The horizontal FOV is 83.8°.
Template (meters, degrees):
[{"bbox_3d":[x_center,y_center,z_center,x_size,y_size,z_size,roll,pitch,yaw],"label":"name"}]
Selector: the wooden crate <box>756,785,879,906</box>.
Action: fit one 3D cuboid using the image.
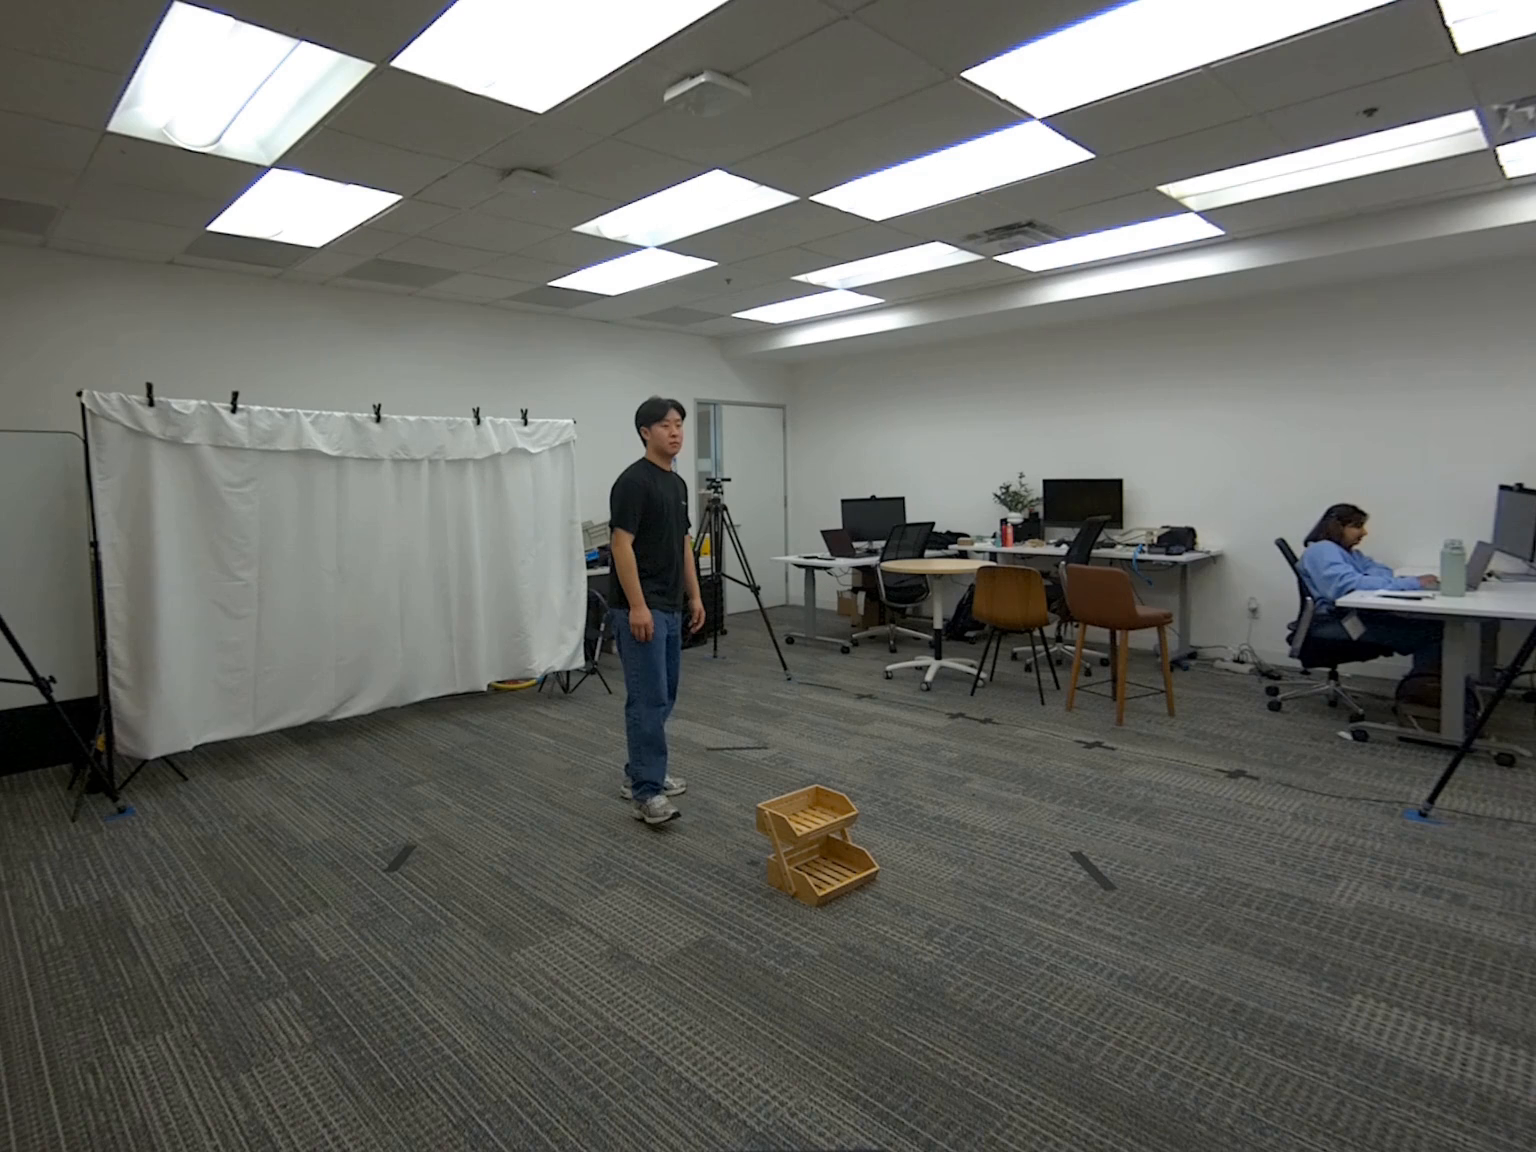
[{"bbox_3d":[0.177,0.921,2.960,0.316,0.272,0.311,-6,6,-41],"label":"wooden crate"}]
